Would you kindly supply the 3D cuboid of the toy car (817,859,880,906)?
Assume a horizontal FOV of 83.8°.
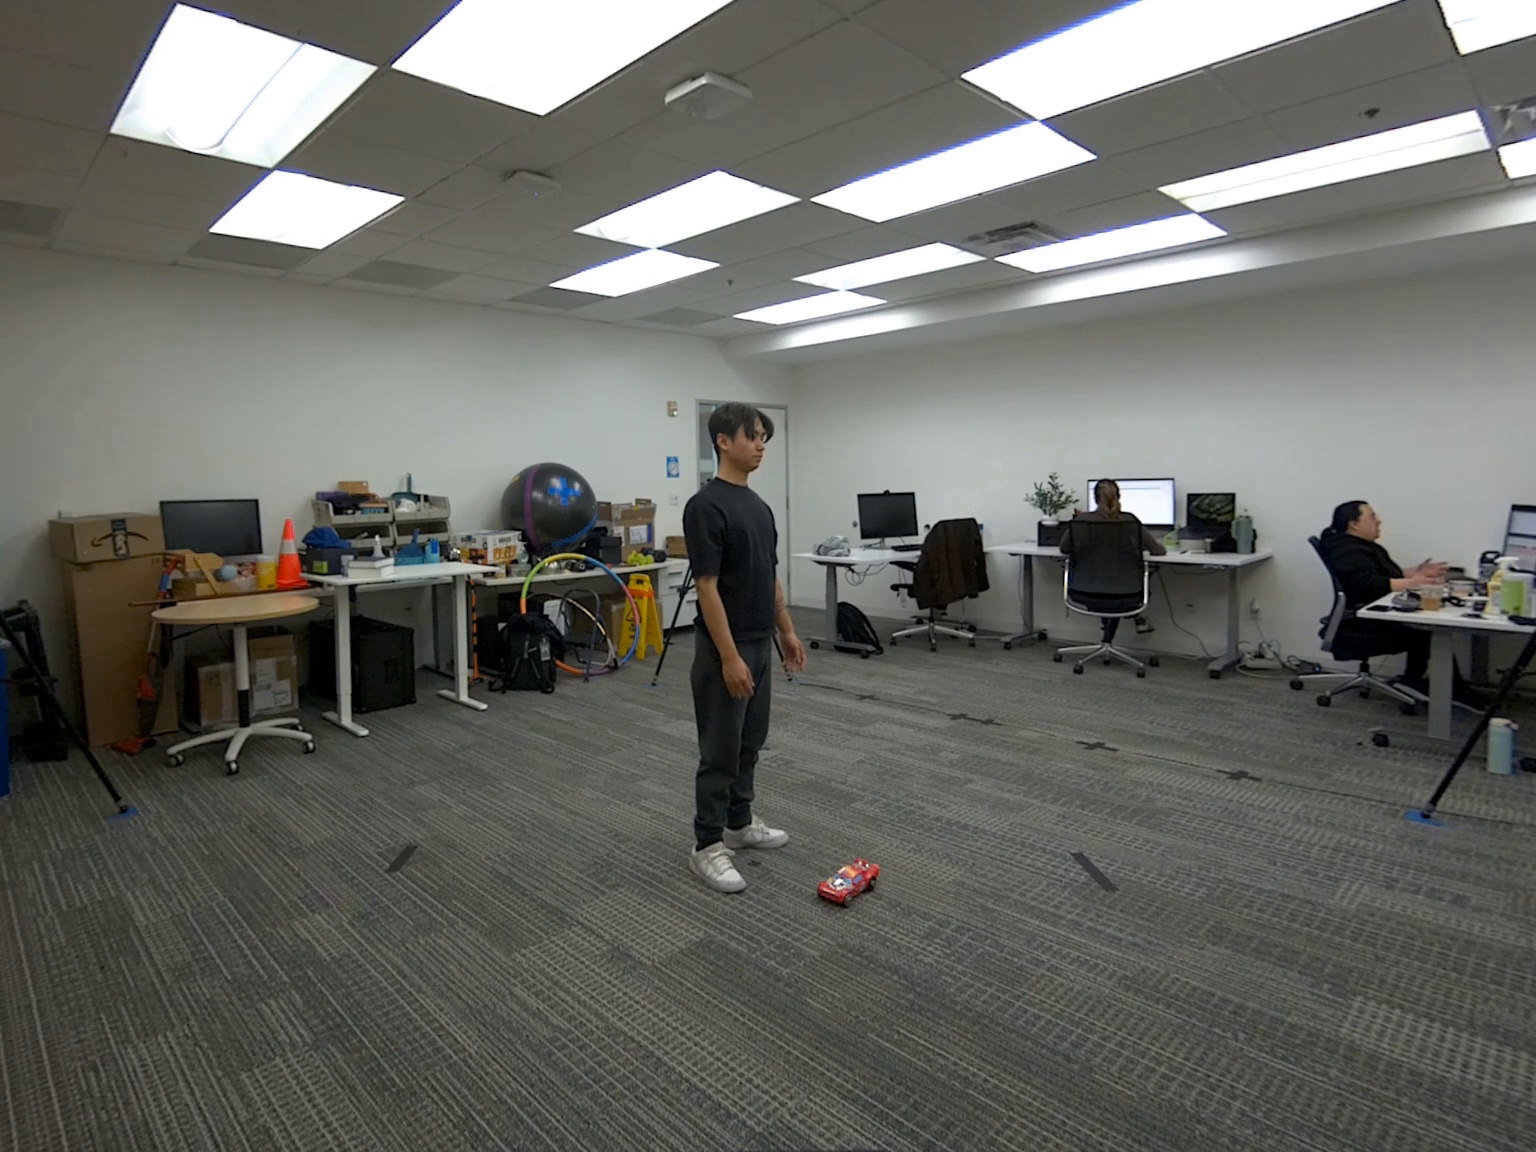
[{"bbox_3d":[0.280,1.033,2.883,0.134,0.082,0.250,4,18,42],"label":"toy car"}]
